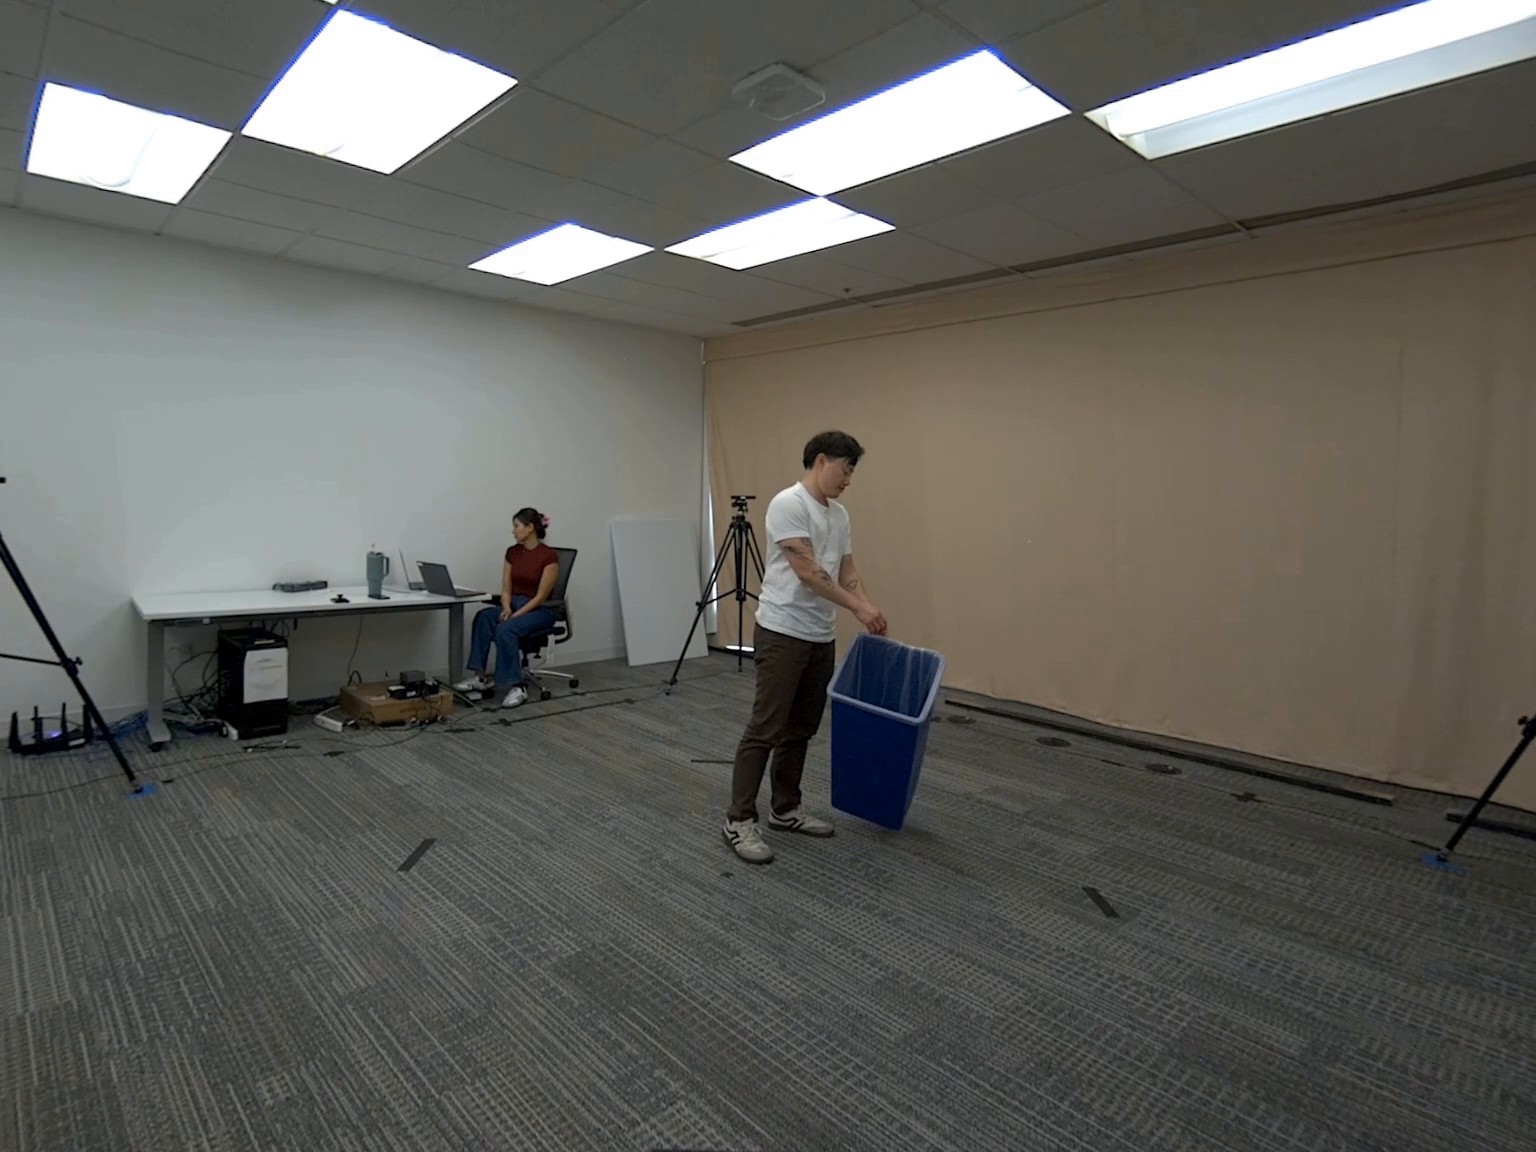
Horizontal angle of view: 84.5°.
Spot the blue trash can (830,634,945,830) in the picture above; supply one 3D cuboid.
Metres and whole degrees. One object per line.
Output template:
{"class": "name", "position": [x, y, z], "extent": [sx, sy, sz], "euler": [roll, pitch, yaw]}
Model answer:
{"class": "blue trash can", "position": [0.440, 0.644, 3.372], "extent": [0.381, 0.698, 0.380], "euler": [14, 40, 18]}
